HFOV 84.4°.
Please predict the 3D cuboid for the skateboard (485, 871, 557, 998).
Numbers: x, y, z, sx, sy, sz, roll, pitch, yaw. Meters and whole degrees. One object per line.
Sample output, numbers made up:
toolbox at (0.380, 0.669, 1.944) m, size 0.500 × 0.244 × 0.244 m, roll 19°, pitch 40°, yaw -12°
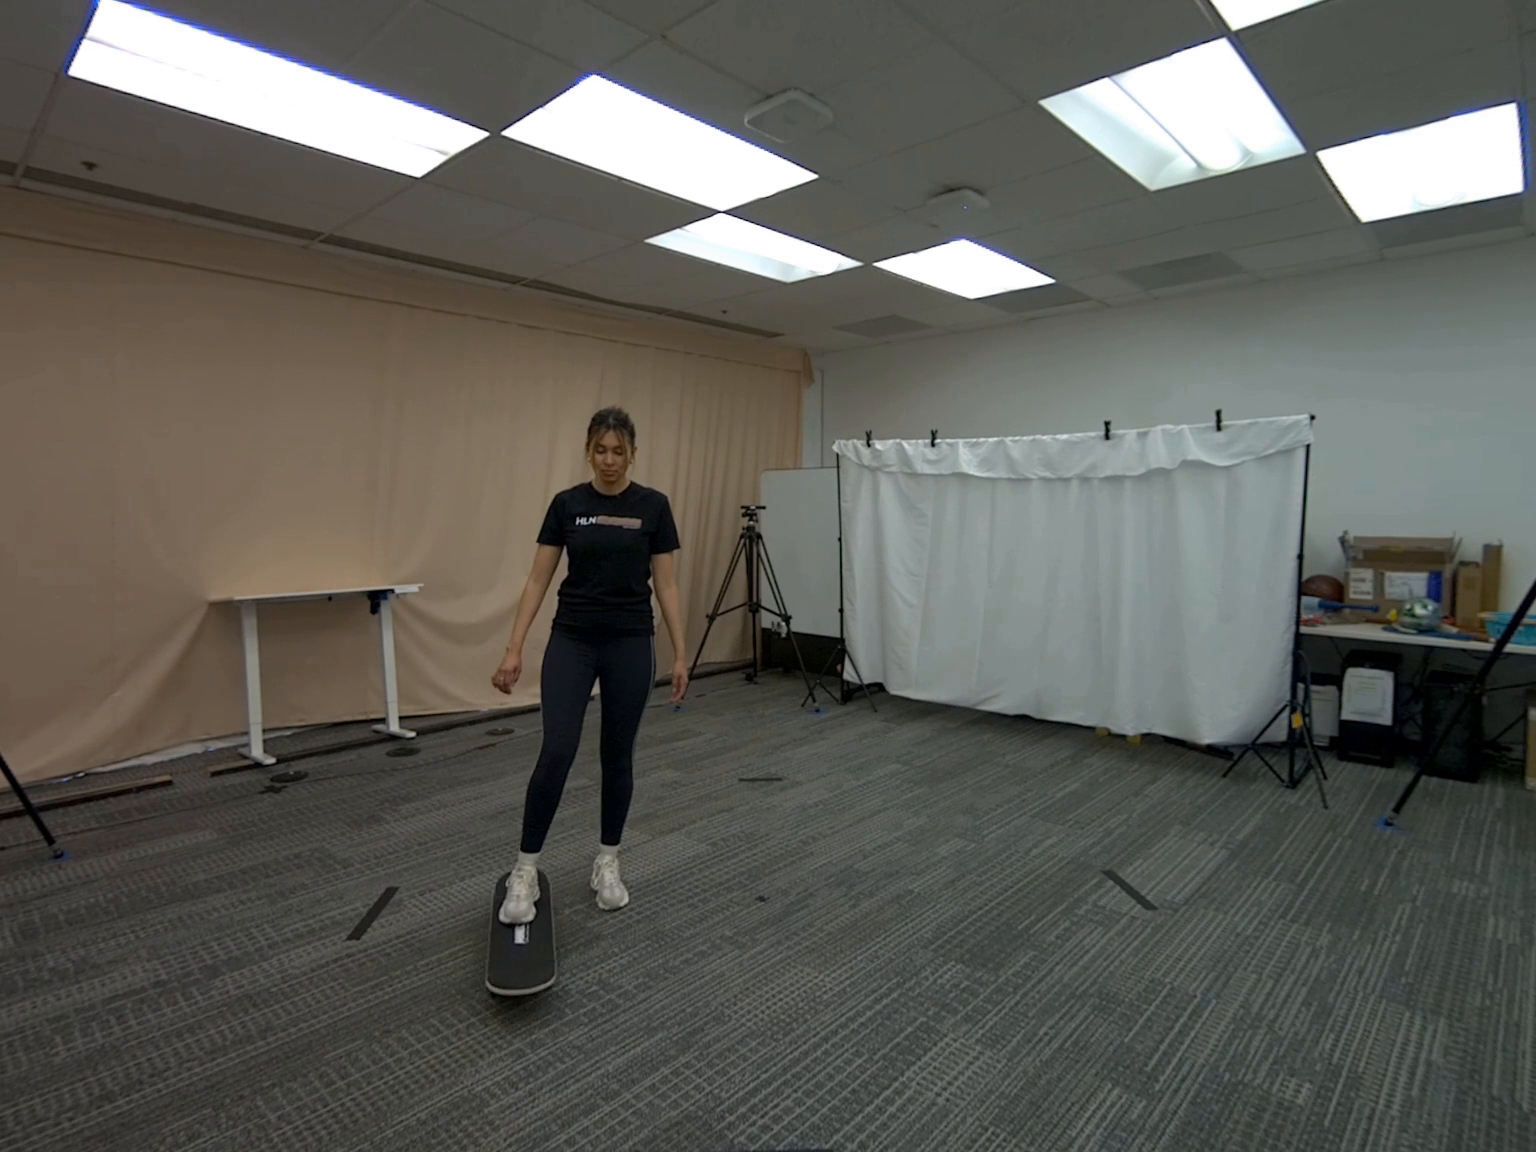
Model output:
skateboard at (-0.763, 1.127, 2.616) m, size 0.191 × 0.110 × 0.799 m, roll -1°, pitch 5°, yaw -15°
